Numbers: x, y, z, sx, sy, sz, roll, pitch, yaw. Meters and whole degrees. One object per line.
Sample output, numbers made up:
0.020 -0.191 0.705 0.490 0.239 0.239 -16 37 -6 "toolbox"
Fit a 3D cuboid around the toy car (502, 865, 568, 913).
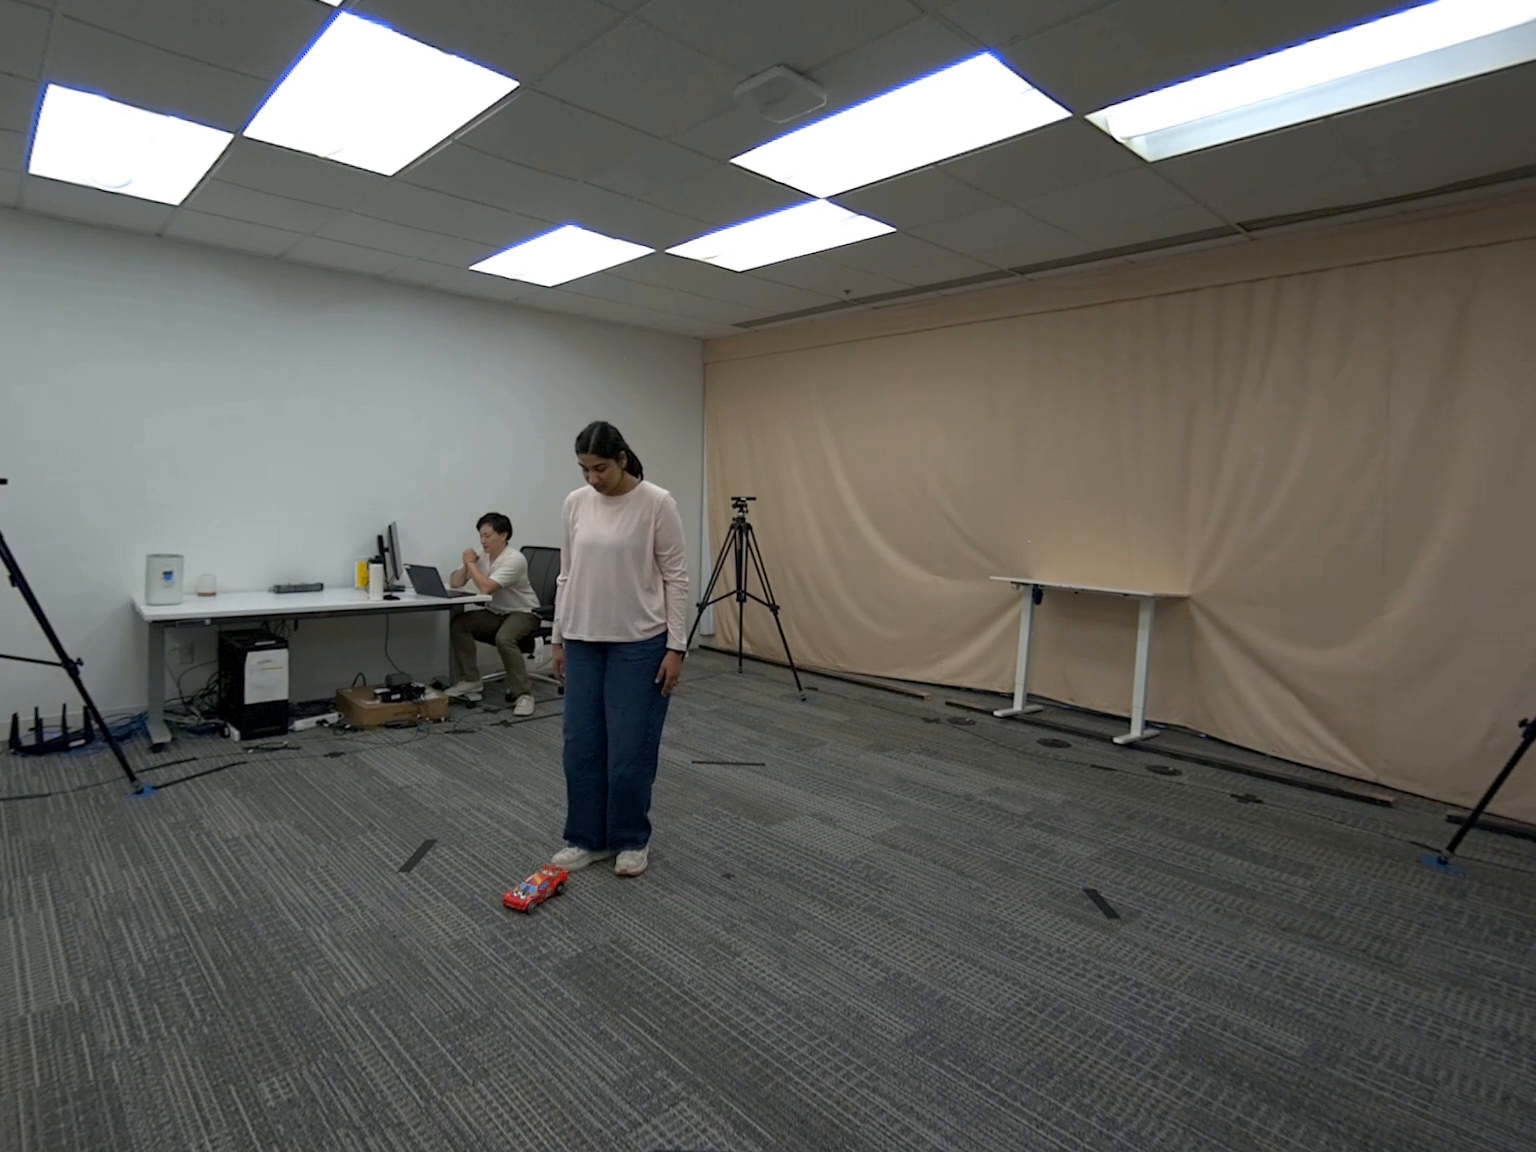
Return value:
-0.816 1.085 2.896 0.133 0.082 0.252 4 17 25 "toy car"
